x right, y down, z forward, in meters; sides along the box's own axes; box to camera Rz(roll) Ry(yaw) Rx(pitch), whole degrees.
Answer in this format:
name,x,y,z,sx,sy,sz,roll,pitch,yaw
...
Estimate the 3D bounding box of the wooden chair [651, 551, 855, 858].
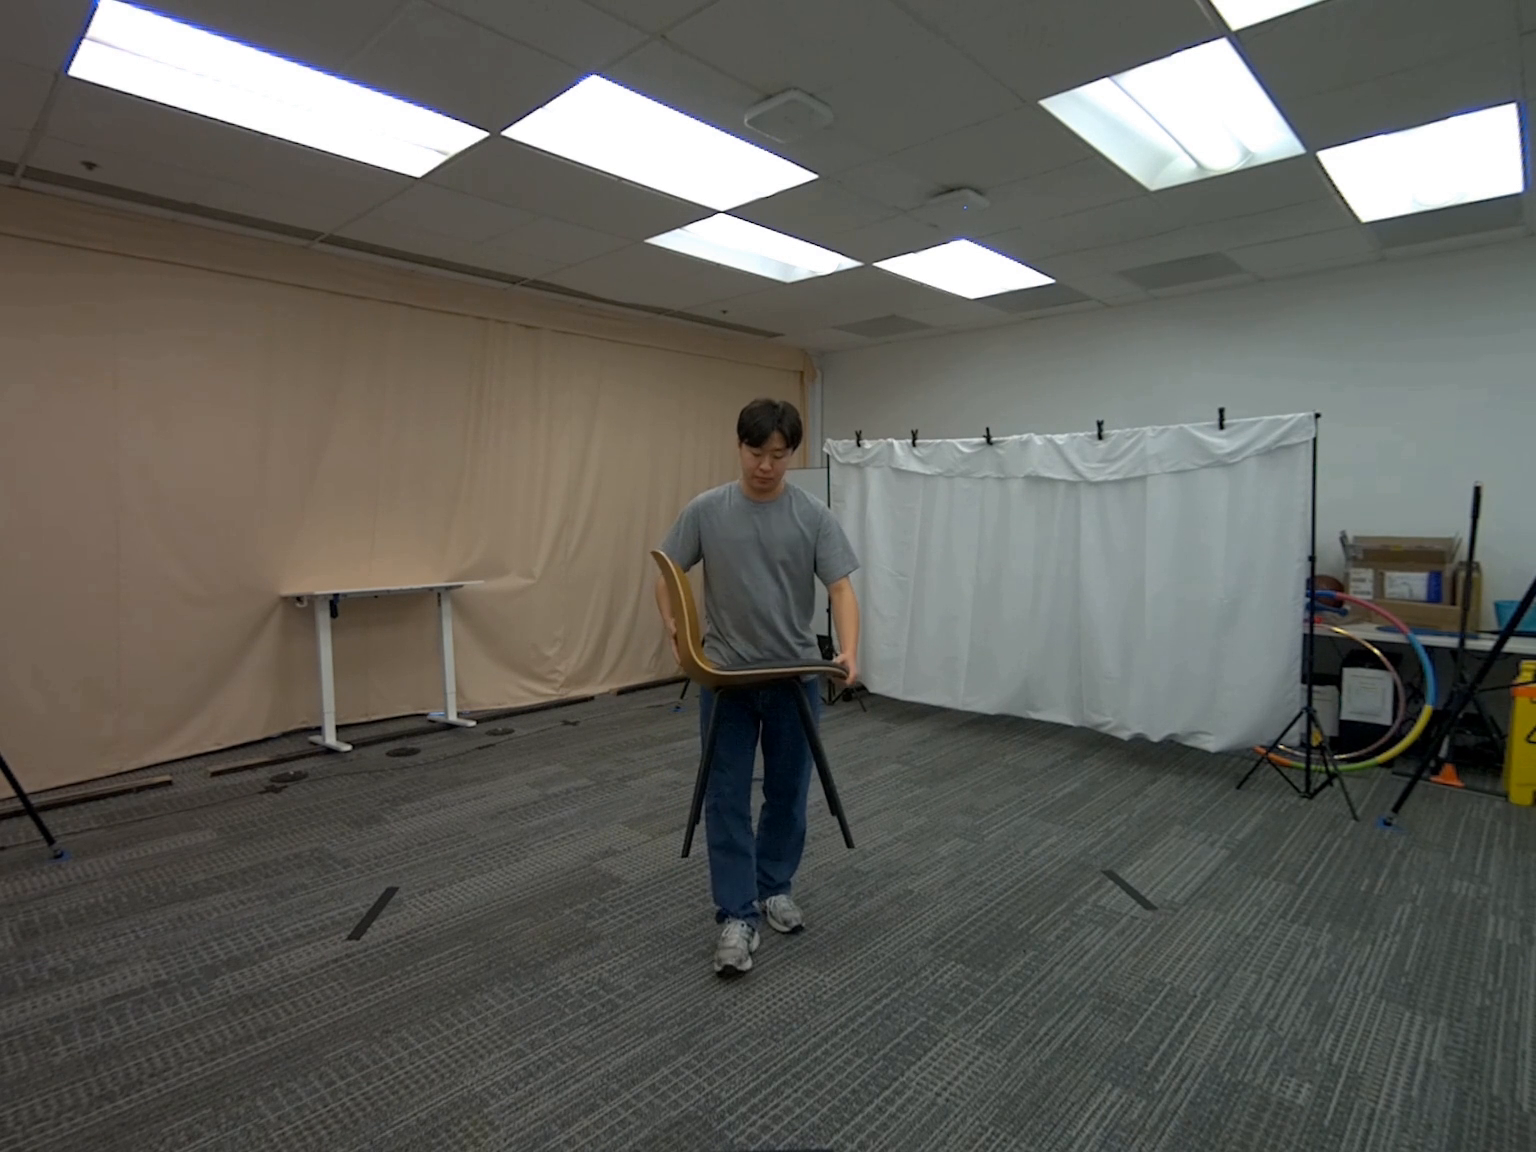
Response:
name,x,y,z,sx,sy,sz,roll,pitch,yaw
wooden chair,-0.032,0.329,2.476,0.522,0.883,0.476,-8,-7,-3
